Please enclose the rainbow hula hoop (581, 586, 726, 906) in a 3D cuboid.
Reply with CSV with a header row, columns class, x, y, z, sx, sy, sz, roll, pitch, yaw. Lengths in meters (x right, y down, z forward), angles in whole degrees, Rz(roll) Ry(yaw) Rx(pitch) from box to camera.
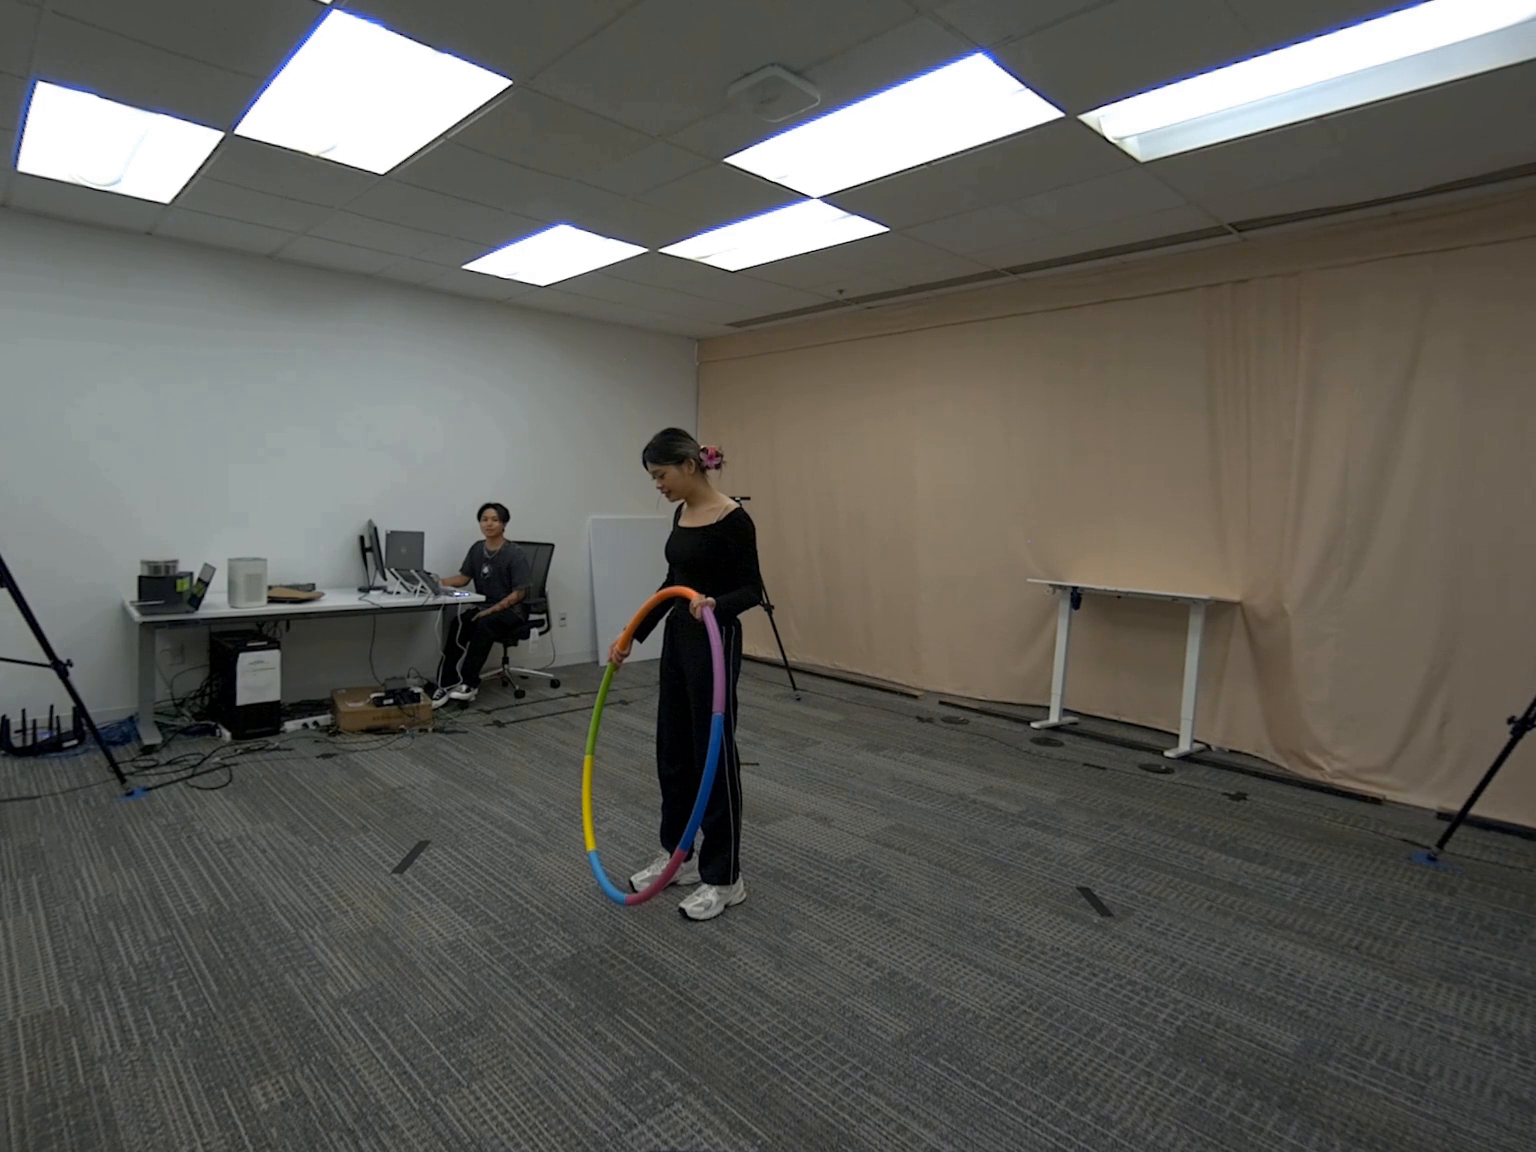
class,x,y,z,sx,sy,sz,roll,pitch,yaw
rainbow hula hoop,-0.402,0.521,2.684,0.035,0.980,1.000,16,-3,-29
